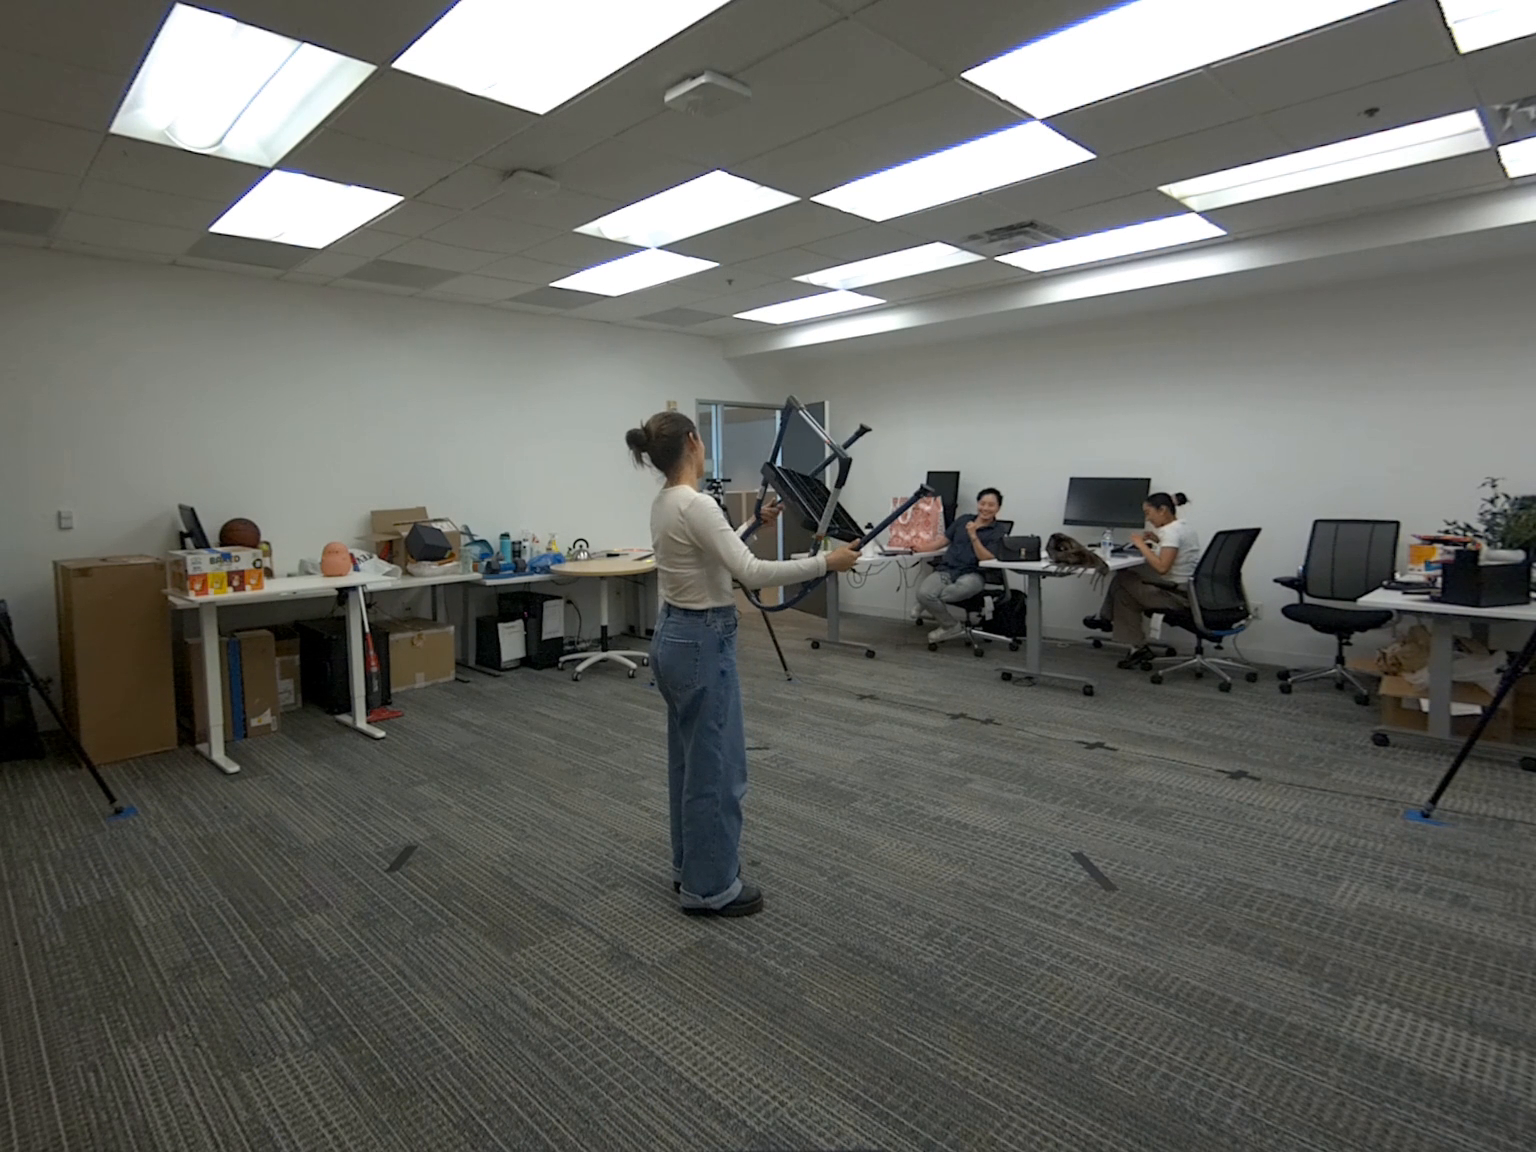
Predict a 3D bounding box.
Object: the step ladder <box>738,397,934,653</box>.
[{"bbox_3d":[0.133,-0.174,2.710,0.338,0.602,0.447,16,27,-34],"label":"step ladder"}]
